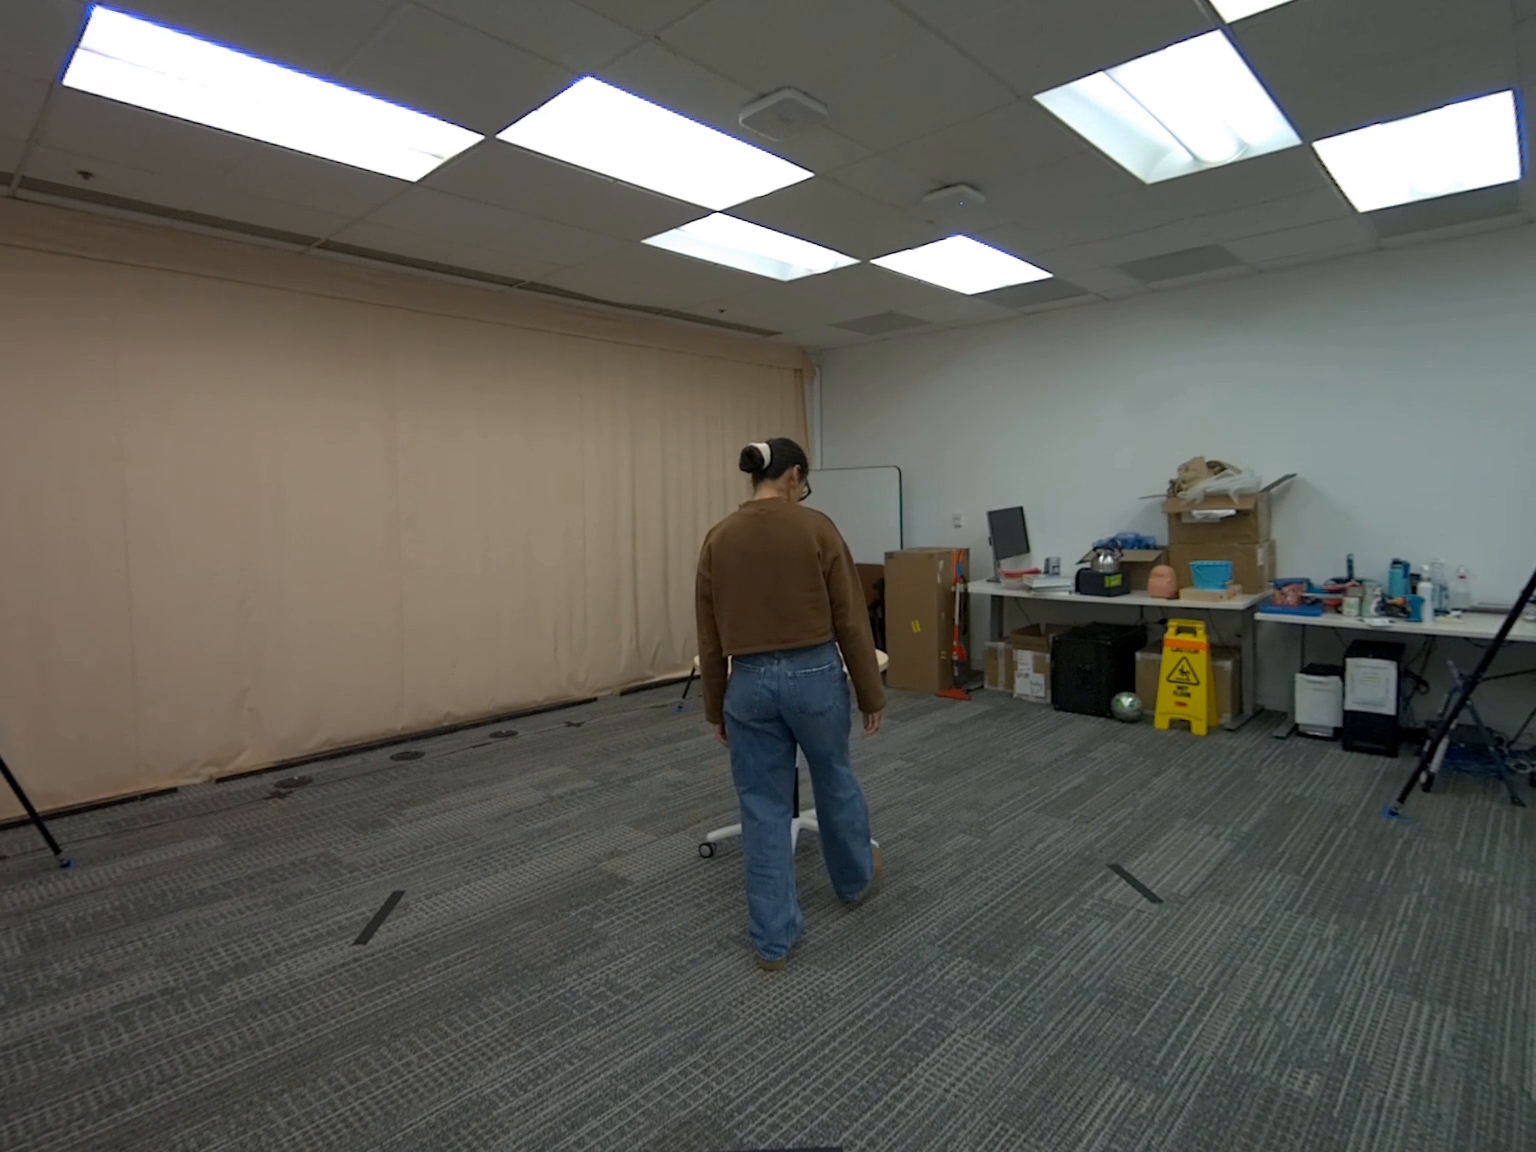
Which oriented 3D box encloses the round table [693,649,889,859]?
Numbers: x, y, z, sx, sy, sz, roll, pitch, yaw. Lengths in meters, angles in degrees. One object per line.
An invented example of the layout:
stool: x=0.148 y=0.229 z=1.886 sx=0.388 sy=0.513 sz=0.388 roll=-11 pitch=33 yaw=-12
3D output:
round table: x=0.096 y=0.716 z=3.352 sx=0.763 sy=0.792 sz=0.767 roll=-1 pitch=4 yaw=-2
